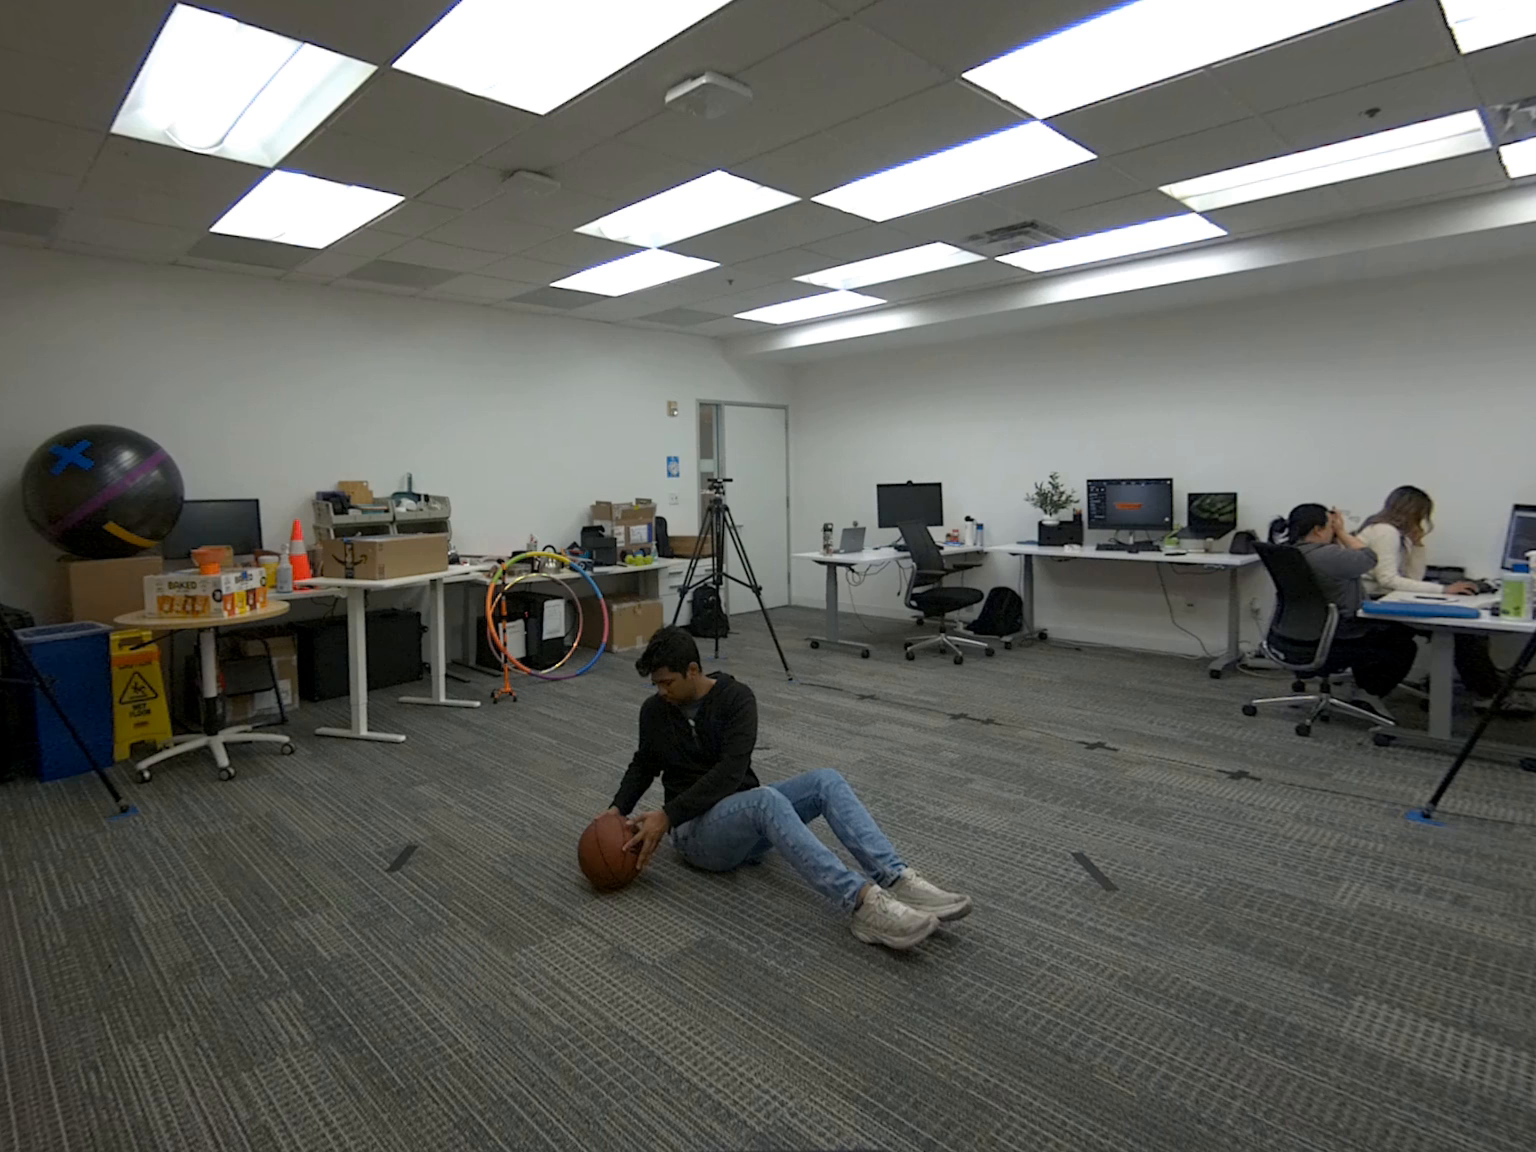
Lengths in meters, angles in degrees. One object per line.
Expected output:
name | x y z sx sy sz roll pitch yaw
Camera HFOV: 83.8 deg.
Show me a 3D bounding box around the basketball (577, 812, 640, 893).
basketball | -0.536 0.950 2.952 0.236 0.235 0.237 -1 5 -2
